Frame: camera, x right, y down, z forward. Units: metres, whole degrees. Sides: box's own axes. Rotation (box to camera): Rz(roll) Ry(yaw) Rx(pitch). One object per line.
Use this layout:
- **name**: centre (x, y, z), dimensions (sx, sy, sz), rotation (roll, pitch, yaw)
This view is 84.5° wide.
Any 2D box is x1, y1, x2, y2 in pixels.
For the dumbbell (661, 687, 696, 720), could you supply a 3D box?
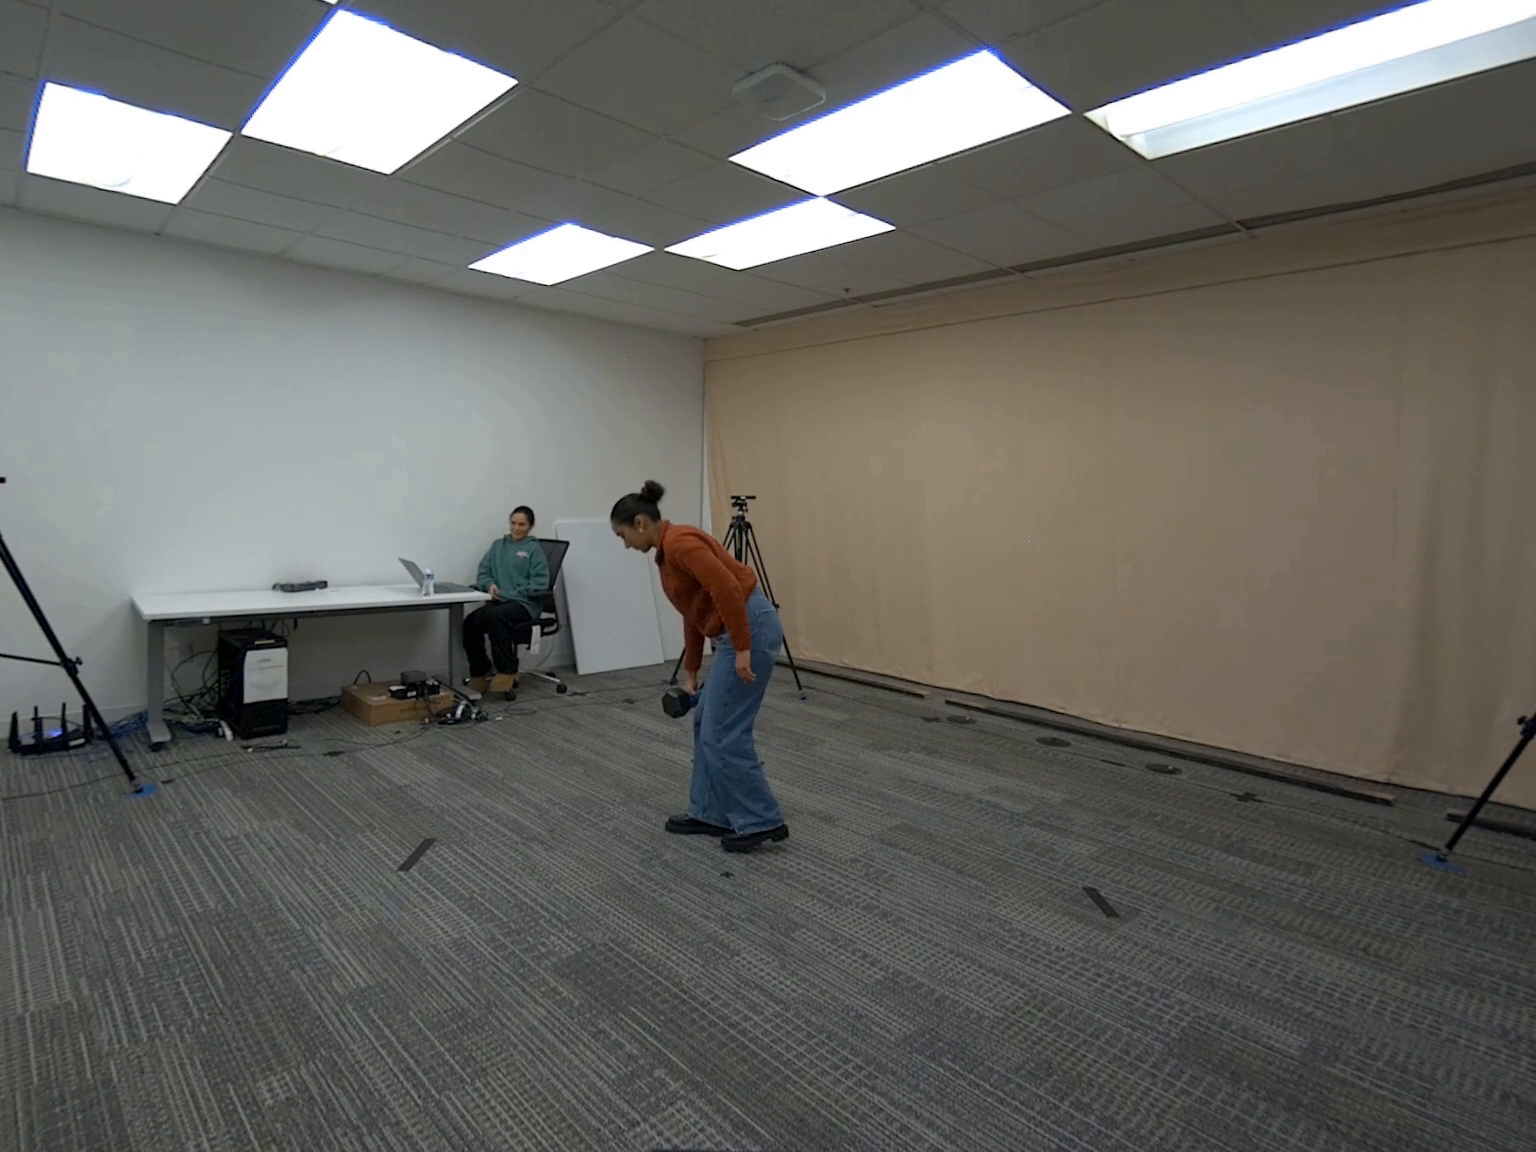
- **dumbbell**: centre (-0.323, 0.531, 3.589), dimensions (0.110, 0.124, 0.287), rotation (-18, -9, 42)
